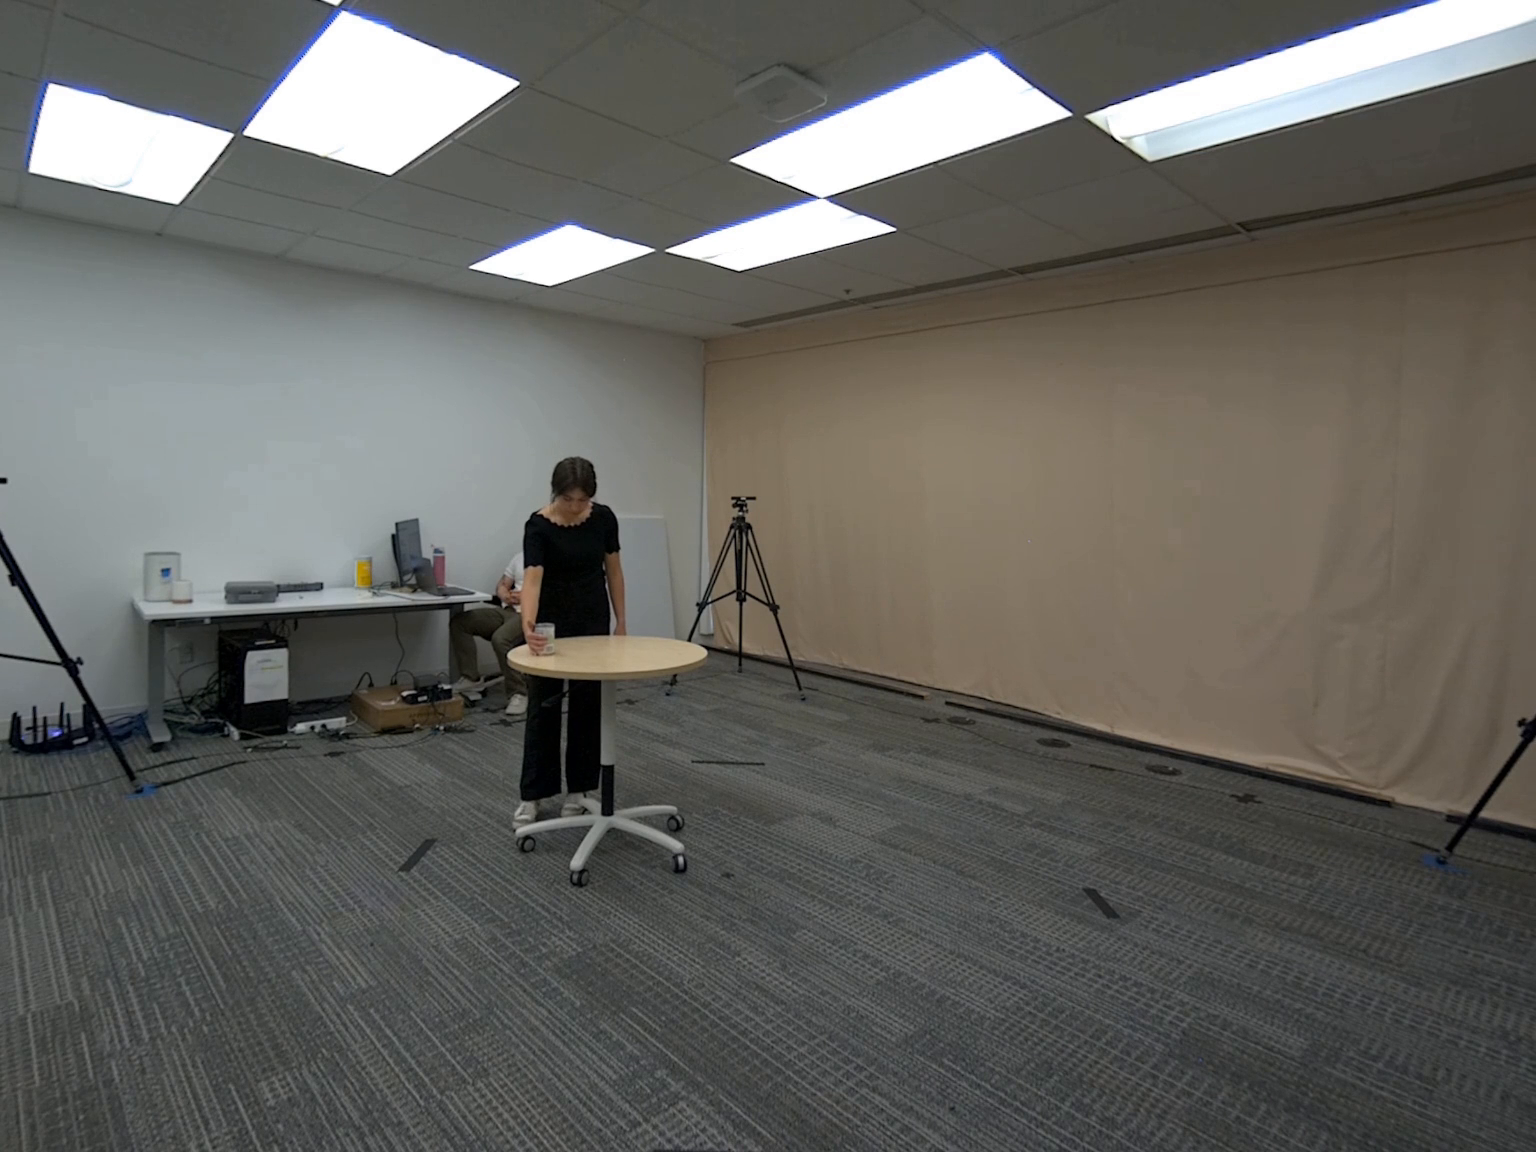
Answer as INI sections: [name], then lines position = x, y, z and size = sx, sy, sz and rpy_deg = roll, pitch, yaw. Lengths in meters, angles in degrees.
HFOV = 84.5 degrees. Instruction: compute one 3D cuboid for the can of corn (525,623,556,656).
[can of corn]
position = -0.869, 0.245, 3.208
size = 0.074, 0.111, 0.074
rpy_deg = -2, 1, -1
